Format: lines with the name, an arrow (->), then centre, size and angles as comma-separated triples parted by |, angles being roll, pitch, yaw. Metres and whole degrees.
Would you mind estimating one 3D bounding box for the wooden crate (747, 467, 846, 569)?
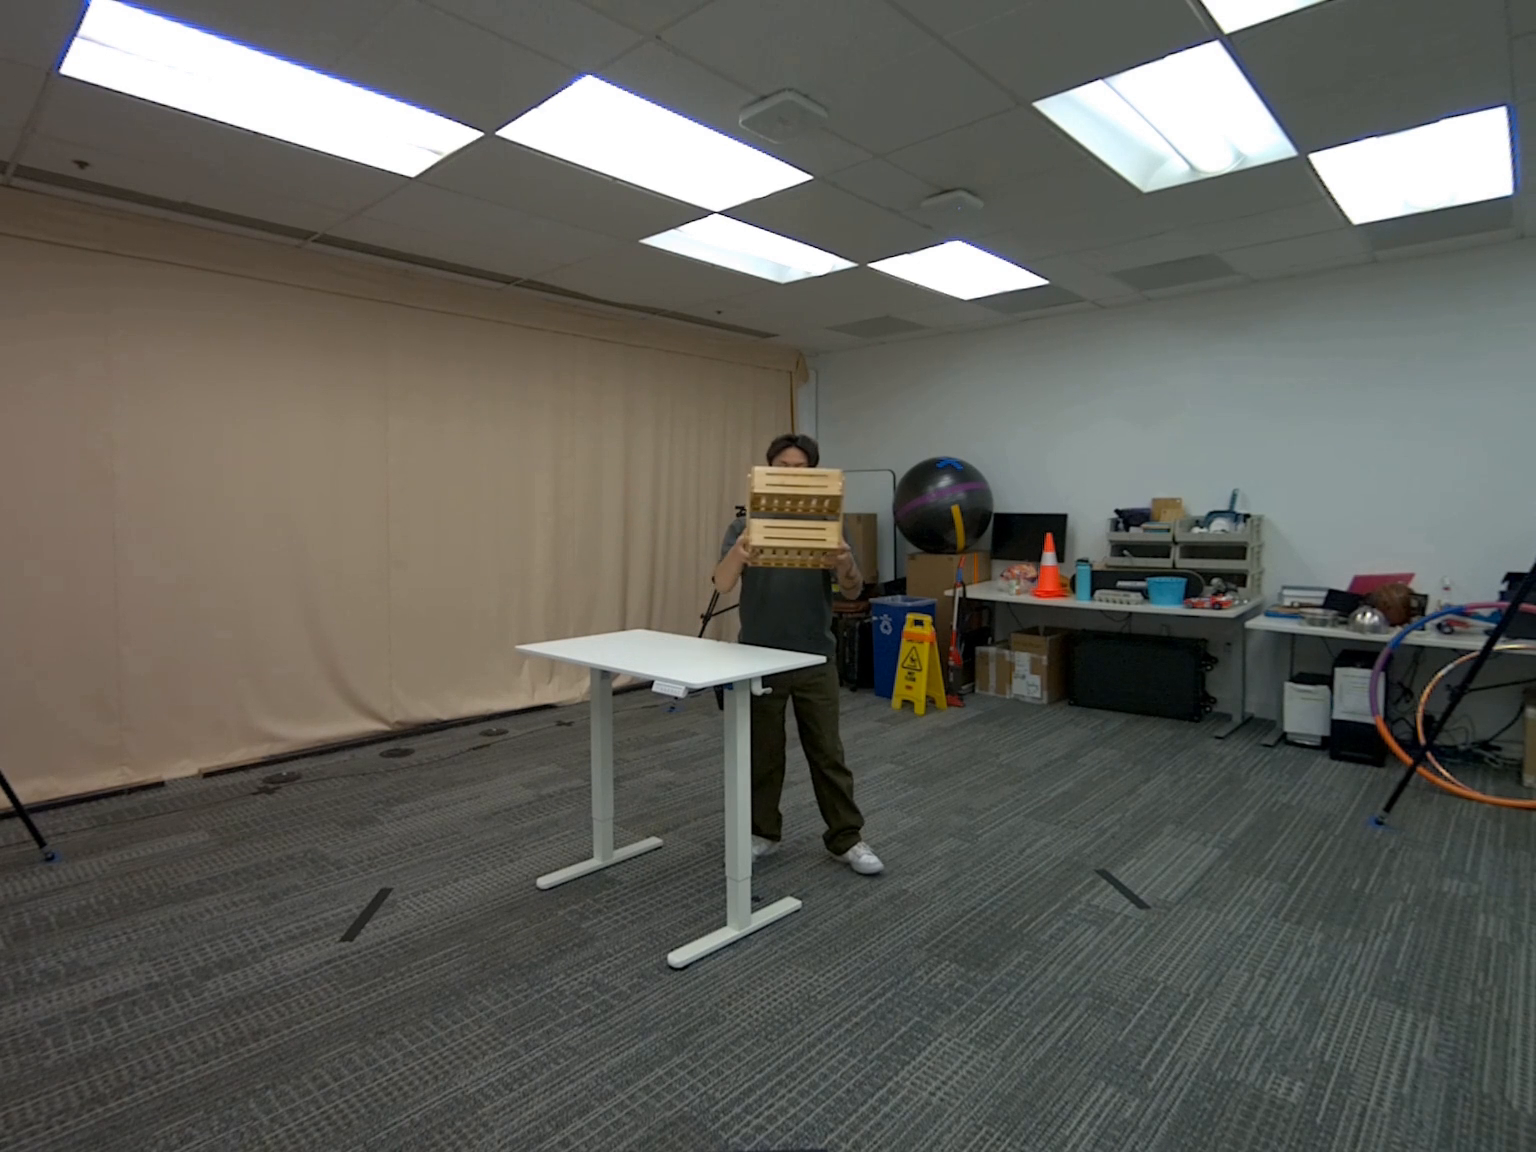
wooden crate -> 0.090, -0.198, 2.901 | 0.324, 0.276, 0.299 | 1, -17, -2
